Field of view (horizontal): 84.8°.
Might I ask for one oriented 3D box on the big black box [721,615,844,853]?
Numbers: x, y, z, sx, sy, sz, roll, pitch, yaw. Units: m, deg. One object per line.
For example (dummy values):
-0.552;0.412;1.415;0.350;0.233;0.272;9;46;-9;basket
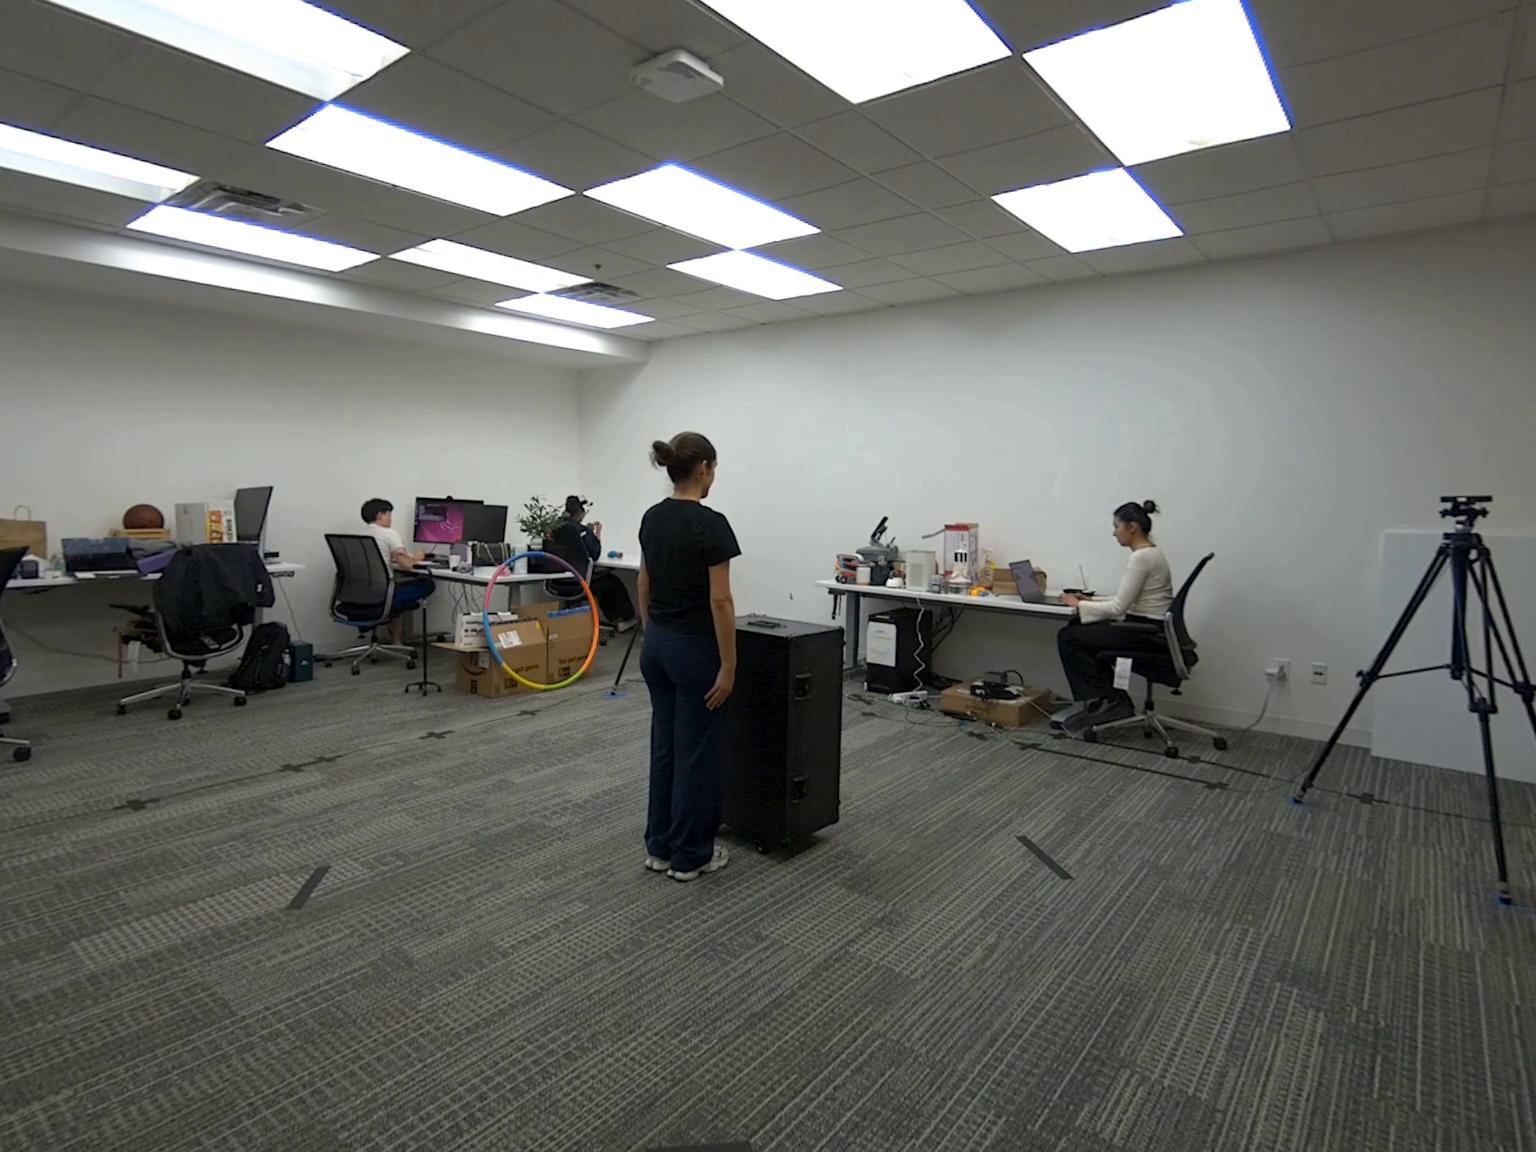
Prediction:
0.020;0.614;3.428;0.539;0.860;0.384;4;3;42;big black box
